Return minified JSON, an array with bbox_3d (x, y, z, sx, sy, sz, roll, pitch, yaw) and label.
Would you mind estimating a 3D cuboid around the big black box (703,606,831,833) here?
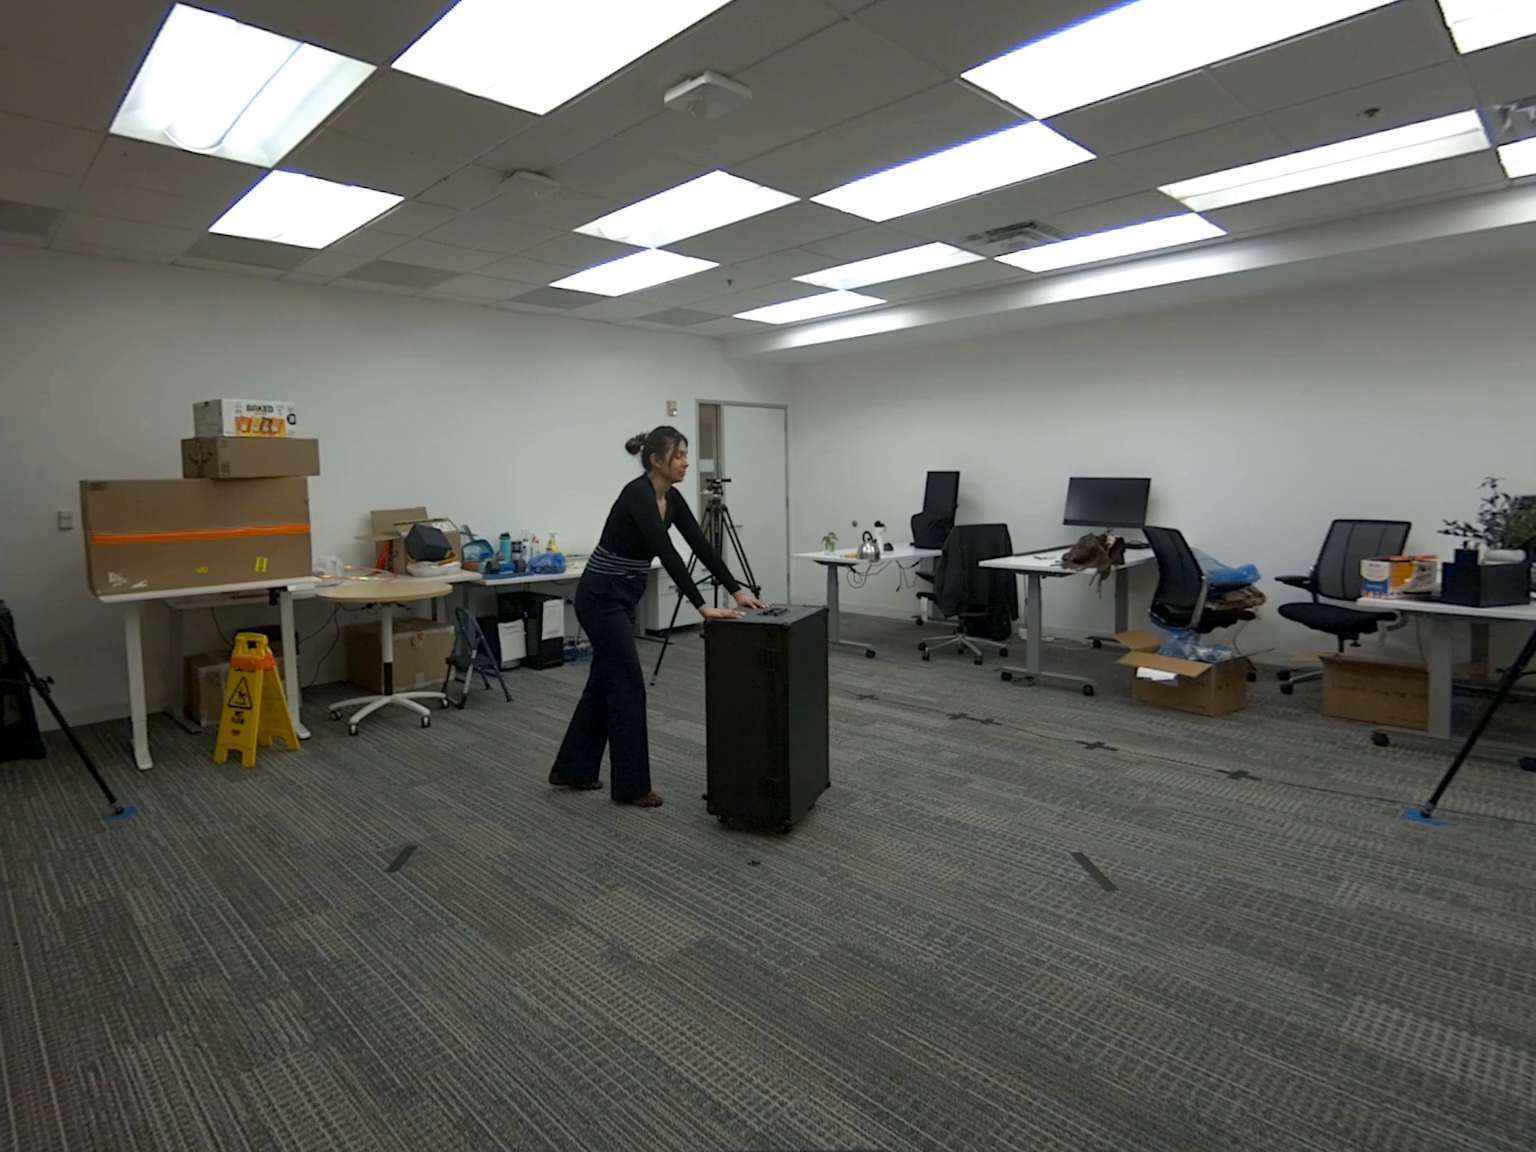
[{"bbox_3d":[-0.002,0.575,3.504,0.405,0.858,0.512,0,4,24],"label":"big black box"}]
